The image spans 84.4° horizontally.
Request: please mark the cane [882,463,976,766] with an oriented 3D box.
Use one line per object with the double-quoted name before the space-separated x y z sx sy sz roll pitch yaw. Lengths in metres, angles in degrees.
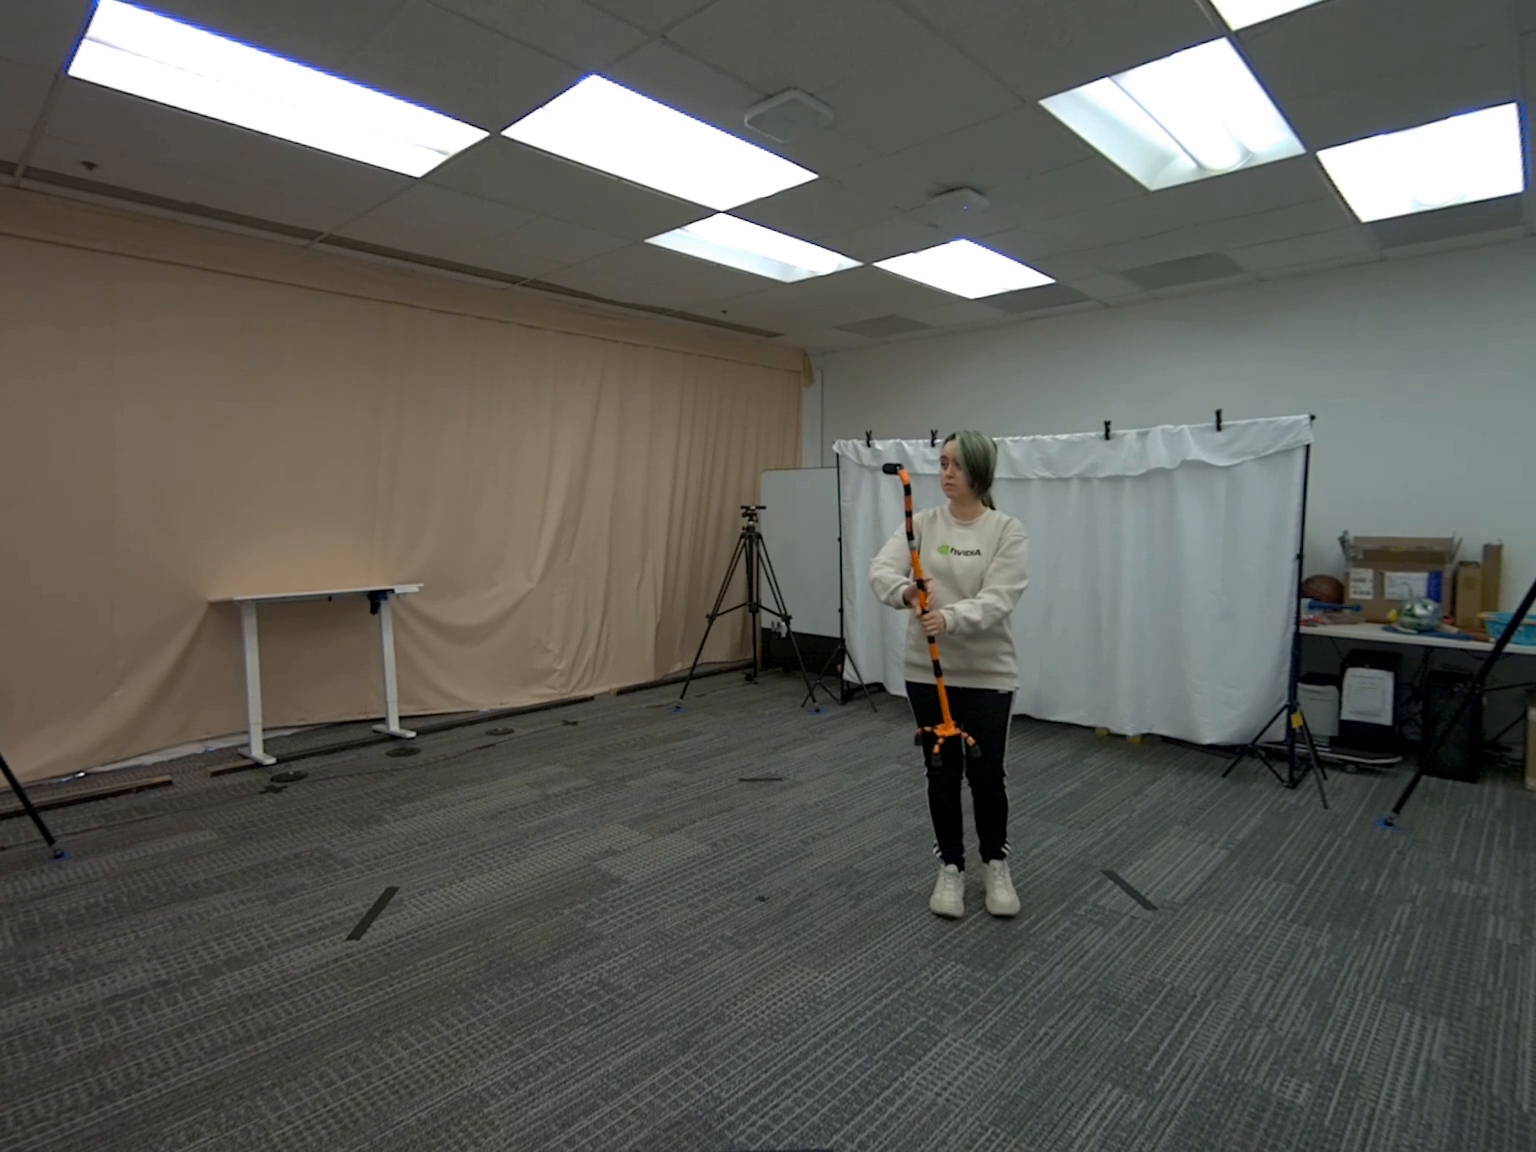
"cane" 0.481 0.107 2.569 0.150 0.902 0.209 -12 8 -8
